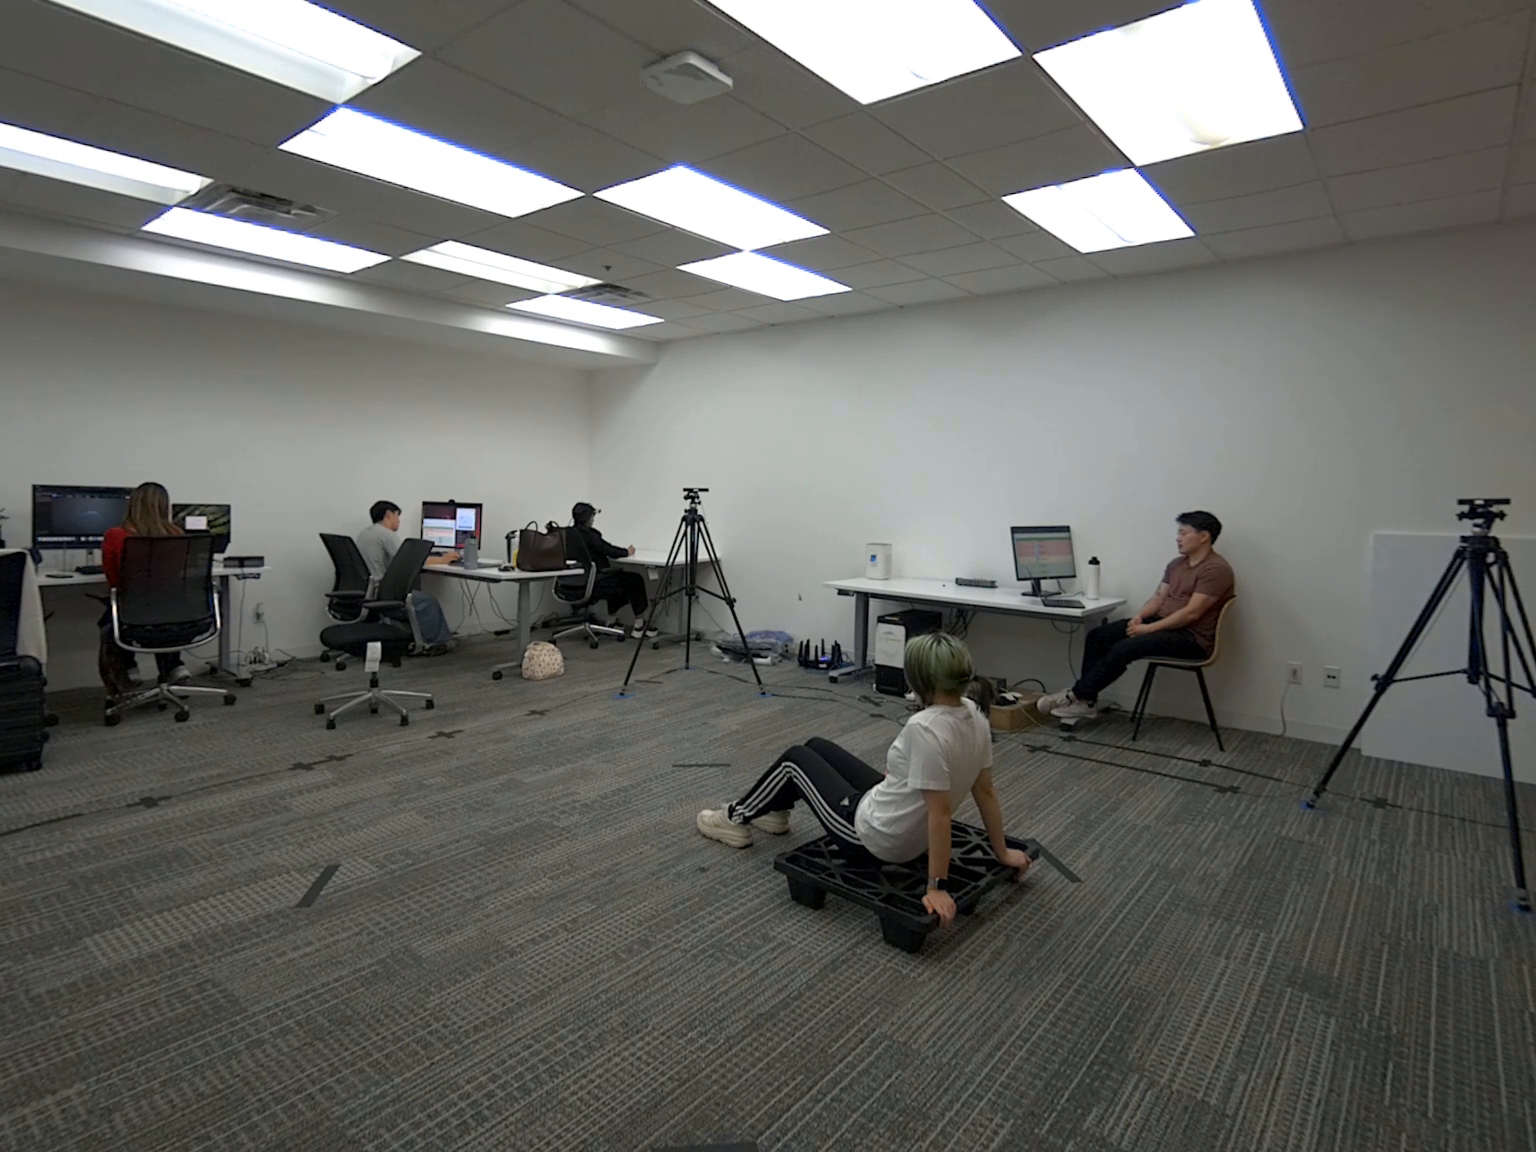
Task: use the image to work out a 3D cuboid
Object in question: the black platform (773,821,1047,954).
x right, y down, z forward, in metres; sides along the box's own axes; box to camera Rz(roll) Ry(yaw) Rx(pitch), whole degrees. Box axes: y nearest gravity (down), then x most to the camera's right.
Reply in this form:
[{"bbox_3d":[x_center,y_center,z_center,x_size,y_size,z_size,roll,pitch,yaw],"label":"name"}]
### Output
[{"bbox_3d":[0.486,1.031,2.981,0.626,0.143,0.781,6,7,43],"label":"black platform"}]
